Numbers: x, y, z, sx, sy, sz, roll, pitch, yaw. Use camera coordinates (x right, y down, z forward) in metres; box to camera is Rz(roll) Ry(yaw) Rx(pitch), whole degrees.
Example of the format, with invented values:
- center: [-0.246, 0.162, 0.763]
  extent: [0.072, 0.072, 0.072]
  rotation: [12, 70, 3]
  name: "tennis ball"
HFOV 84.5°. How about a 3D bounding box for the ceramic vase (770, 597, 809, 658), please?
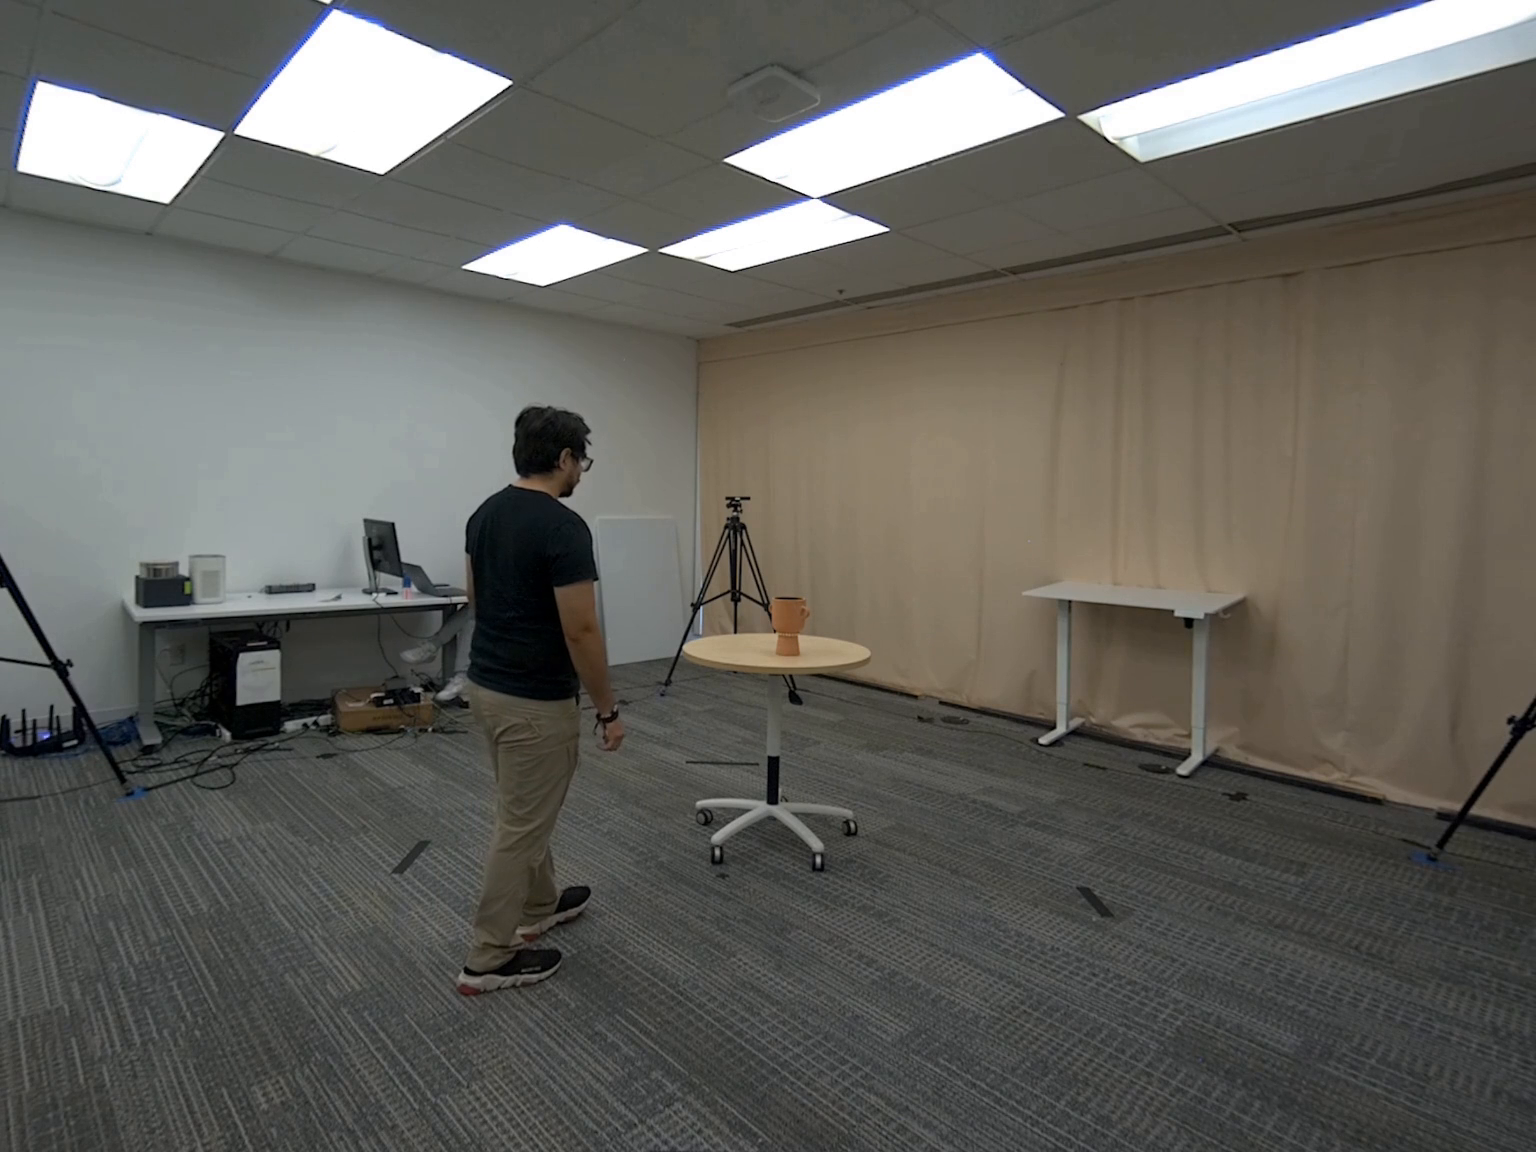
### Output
- center: [0.076, 0.200, 3.329]
  extent: [0.134, 0.219, 0.160]
  rotation: [1, 4, -9]
  name: "ceramic vase"
